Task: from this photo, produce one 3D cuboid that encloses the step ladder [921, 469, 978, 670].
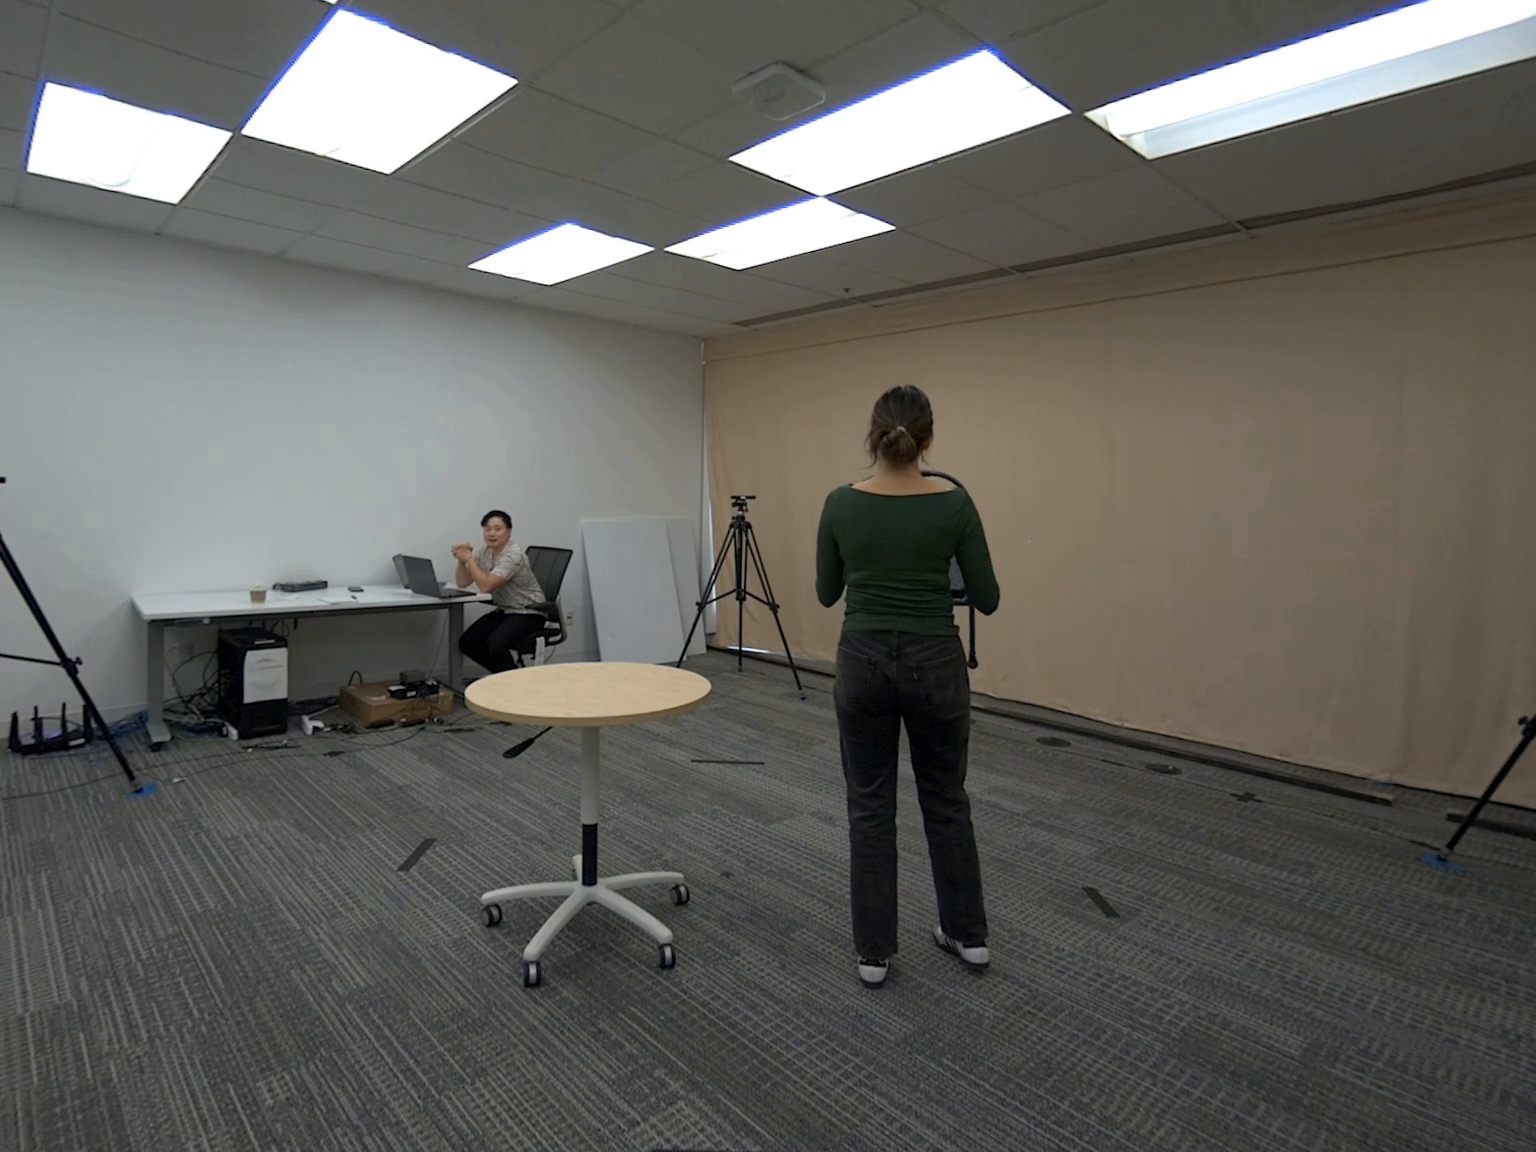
[{"bbox_3d":[0.484,-0.044,2.788,0.435,0.592,0.354,0,35,13],"label":"step ladder"}]
